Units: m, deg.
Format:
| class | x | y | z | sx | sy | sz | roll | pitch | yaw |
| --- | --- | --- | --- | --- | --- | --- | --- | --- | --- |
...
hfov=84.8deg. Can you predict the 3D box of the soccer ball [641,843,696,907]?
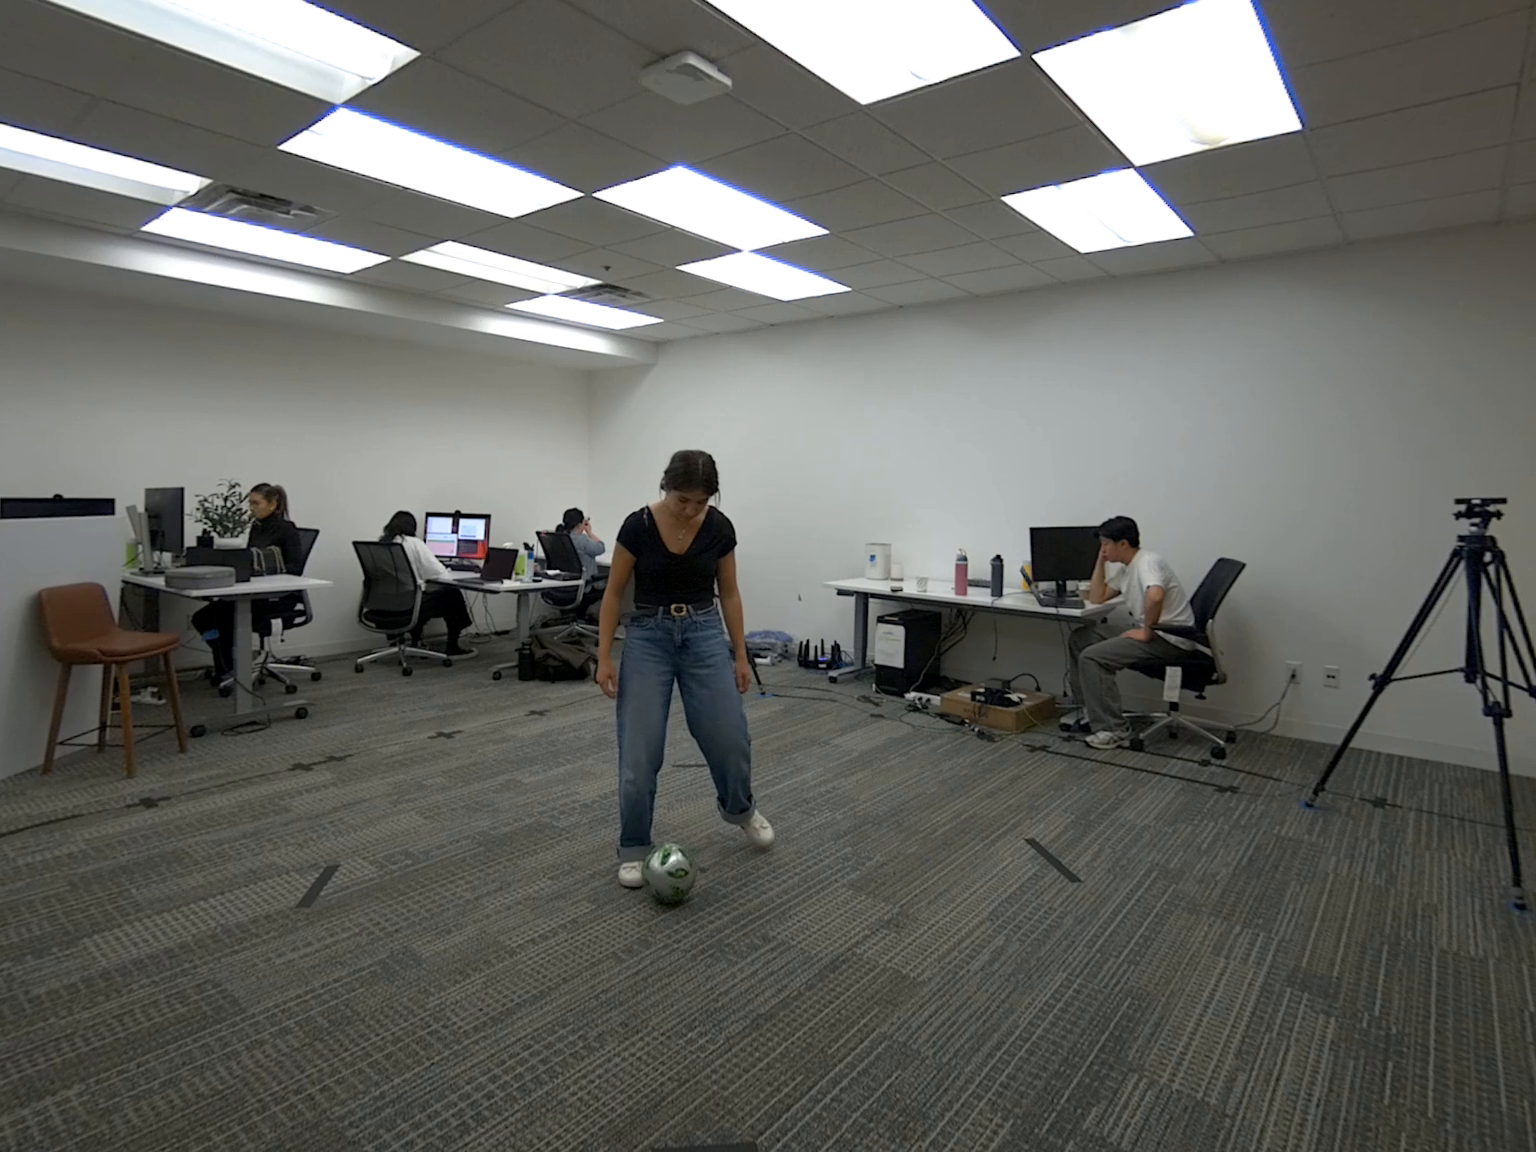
| class | x | y | z | sx | sy | sz | roll | pitch | yaw |
| --- | --- | --- | --- | --- | --- | --- | --- | --- | --- |
| soccer ball | -0.332 | 0.994 | 2.863 | 0.187 | 0.187 | 0.188 | 1 | 4 | -2 |
